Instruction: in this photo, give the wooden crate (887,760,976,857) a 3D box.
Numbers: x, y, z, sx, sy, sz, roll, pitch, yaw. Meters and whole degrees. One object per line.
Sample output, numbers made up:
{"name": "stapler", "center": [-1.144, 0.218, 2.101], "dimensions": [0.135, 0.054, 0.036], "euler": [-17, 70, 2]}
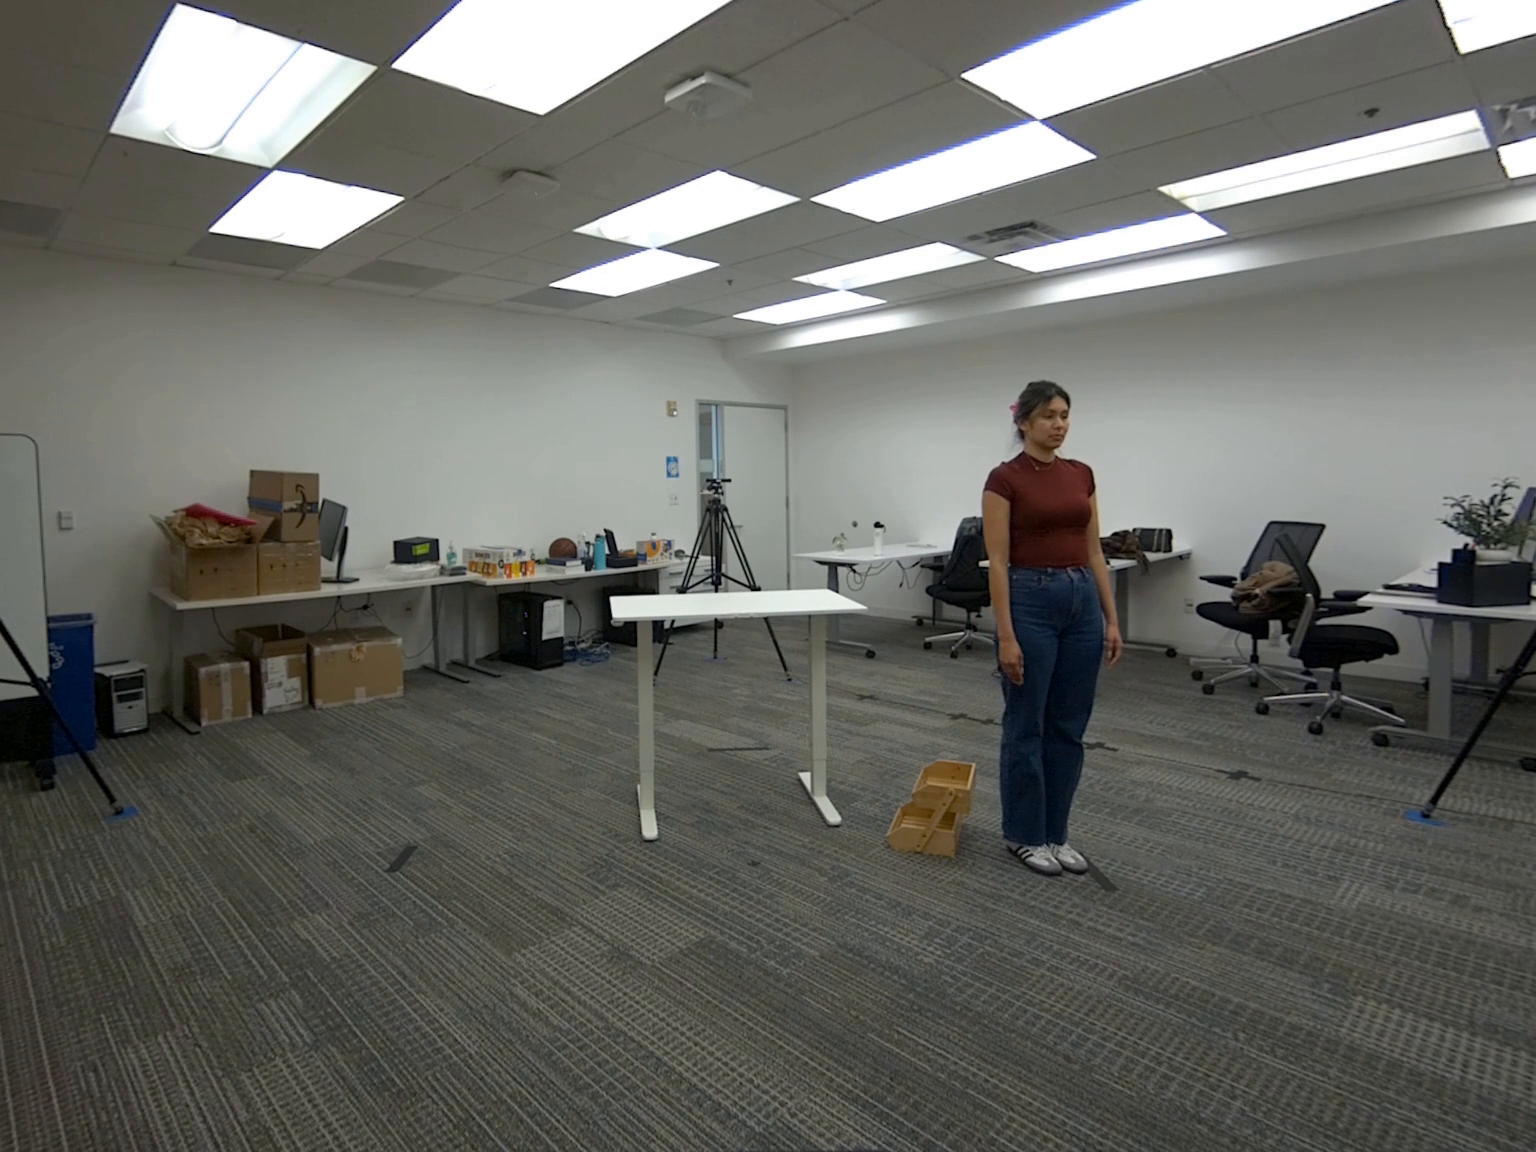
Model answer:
{"name": "wooden crate", "center": [0.637, 0.879, 3.294], "dimensions": [0.308, 0.272, 0.319], "euler": [2, 5, 19]}
